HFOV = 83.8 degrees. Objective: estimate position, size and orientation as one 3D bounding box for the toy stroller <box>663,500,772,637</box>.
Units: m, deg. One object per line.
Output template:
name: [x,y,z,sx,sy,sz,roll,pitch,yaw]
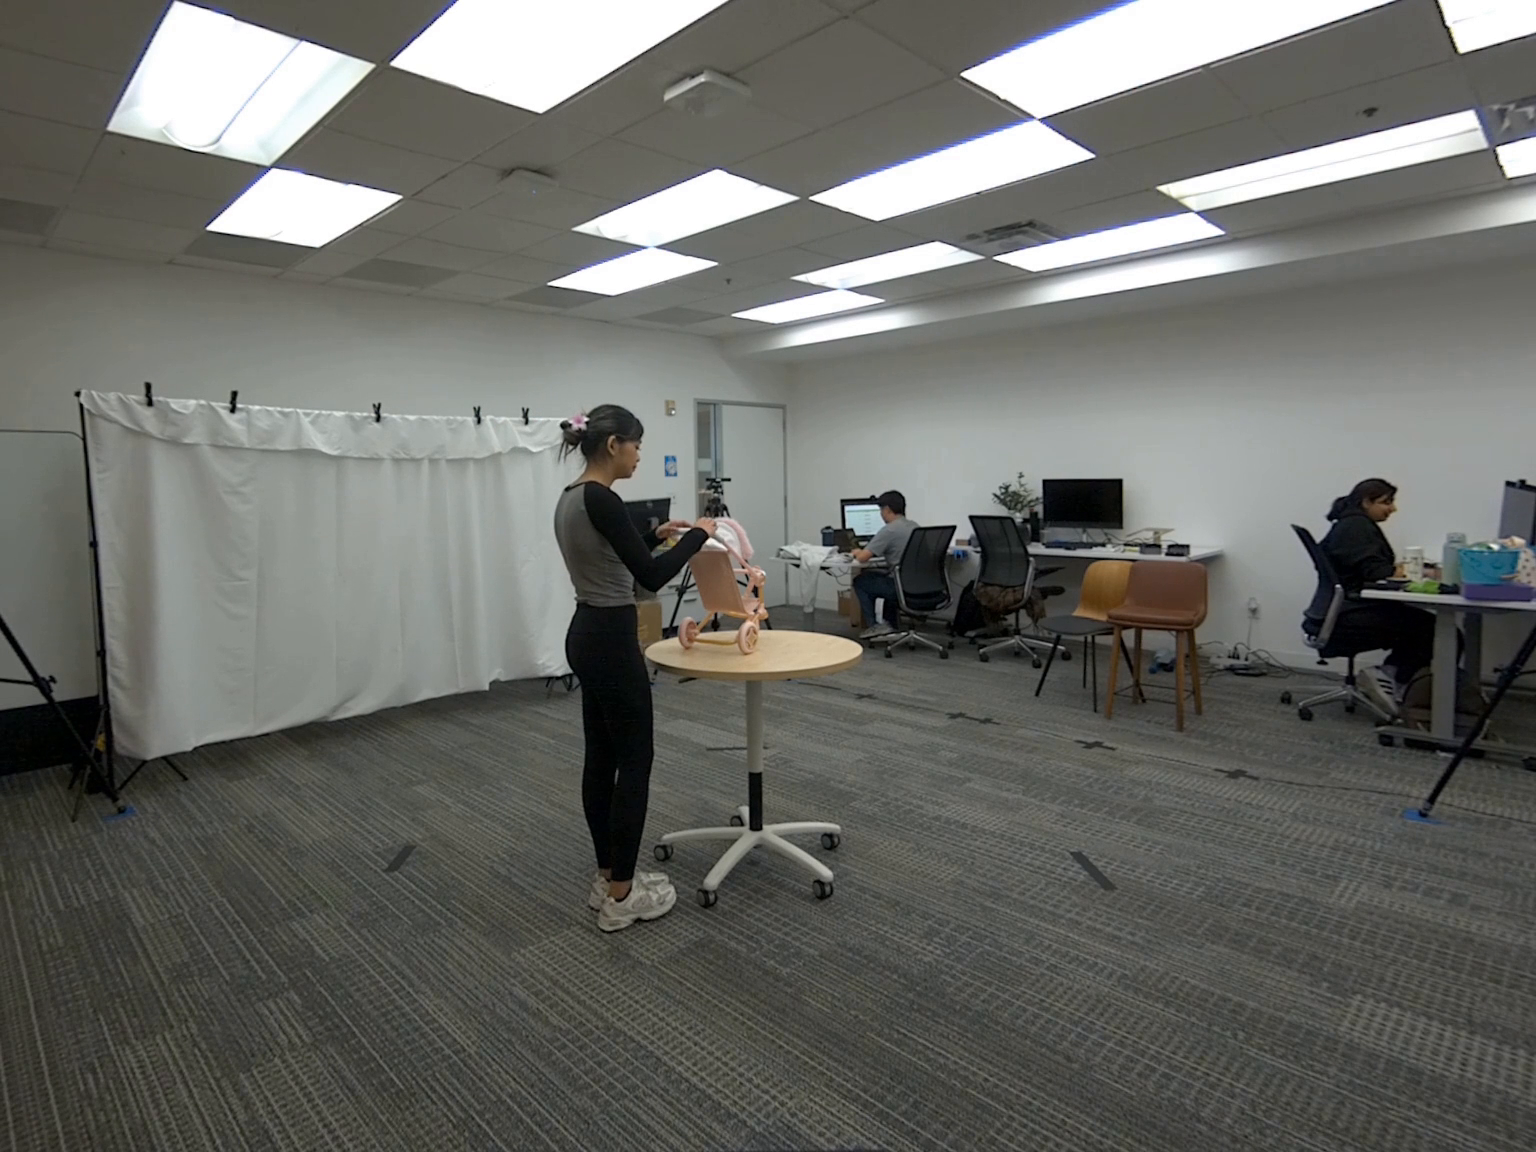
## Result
toy stroller: [-0.147,0.031,3.045,0.289,0.526,0.337,2,19,35]
